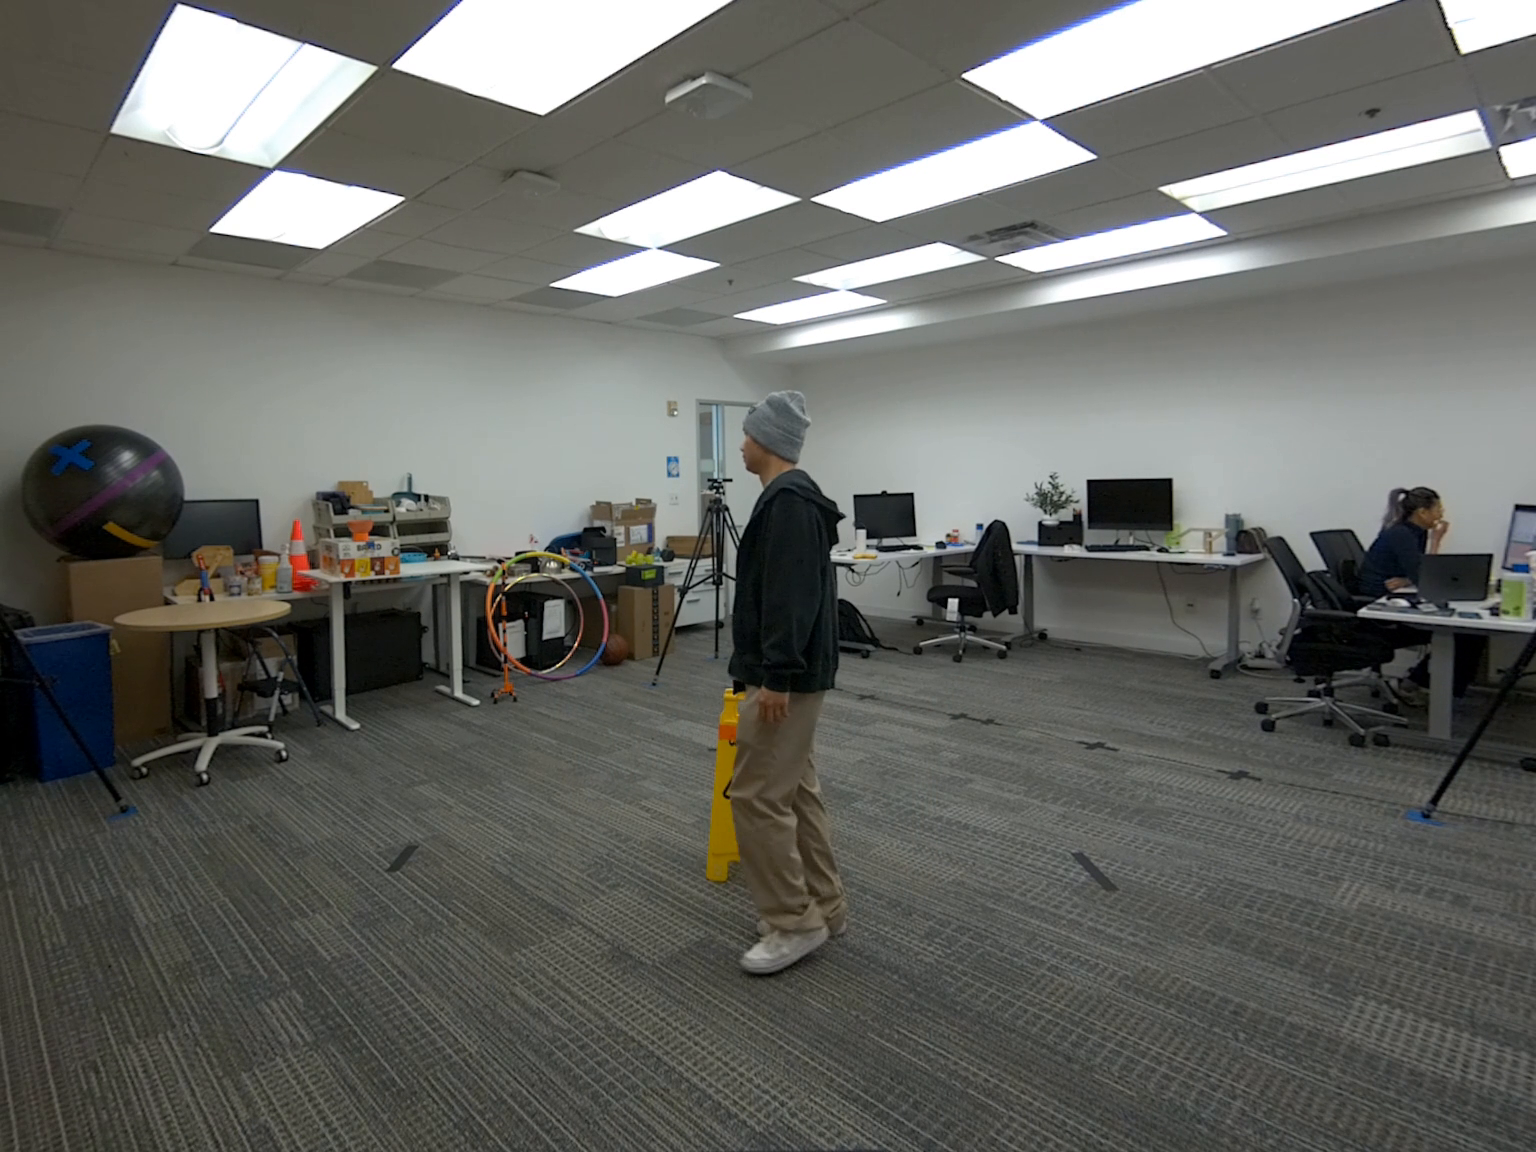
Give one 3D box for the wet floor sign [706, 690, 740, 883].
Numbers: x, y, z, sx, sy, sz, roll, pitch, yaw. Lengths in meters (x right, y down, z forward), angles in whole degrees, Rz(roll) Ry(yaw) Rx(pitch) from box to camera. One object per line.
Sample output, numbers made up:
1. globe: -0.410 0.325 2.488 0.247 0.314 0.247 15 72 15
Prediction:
1. wet floor sign: -0.050 0.730 3.033 0.287 0.644 0.286 0 4 17
